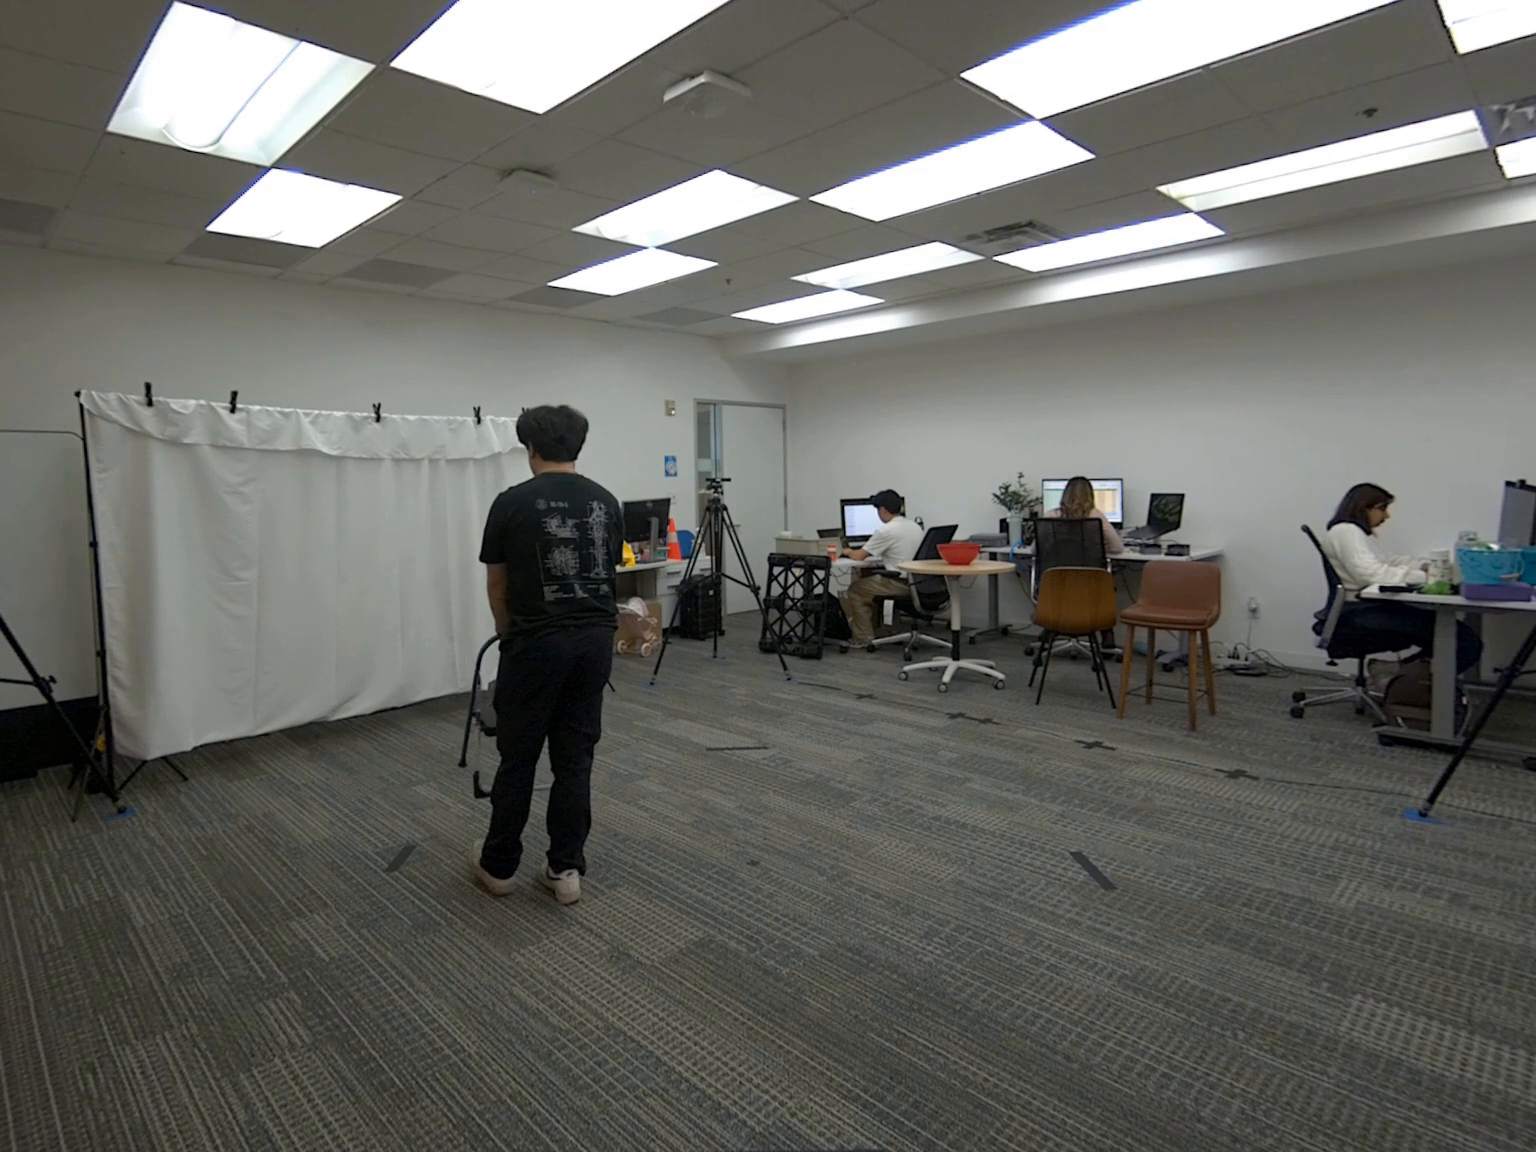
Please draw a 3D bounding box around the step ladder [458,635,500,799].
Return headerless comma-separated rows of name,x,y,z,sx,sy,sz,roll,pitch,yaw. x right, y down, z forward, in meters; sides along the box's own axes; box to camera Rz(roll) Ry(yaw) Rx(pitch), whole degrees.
step ladder,-0.930,0.486,3.282,0.420,0.602,0.360,1,9,-29
